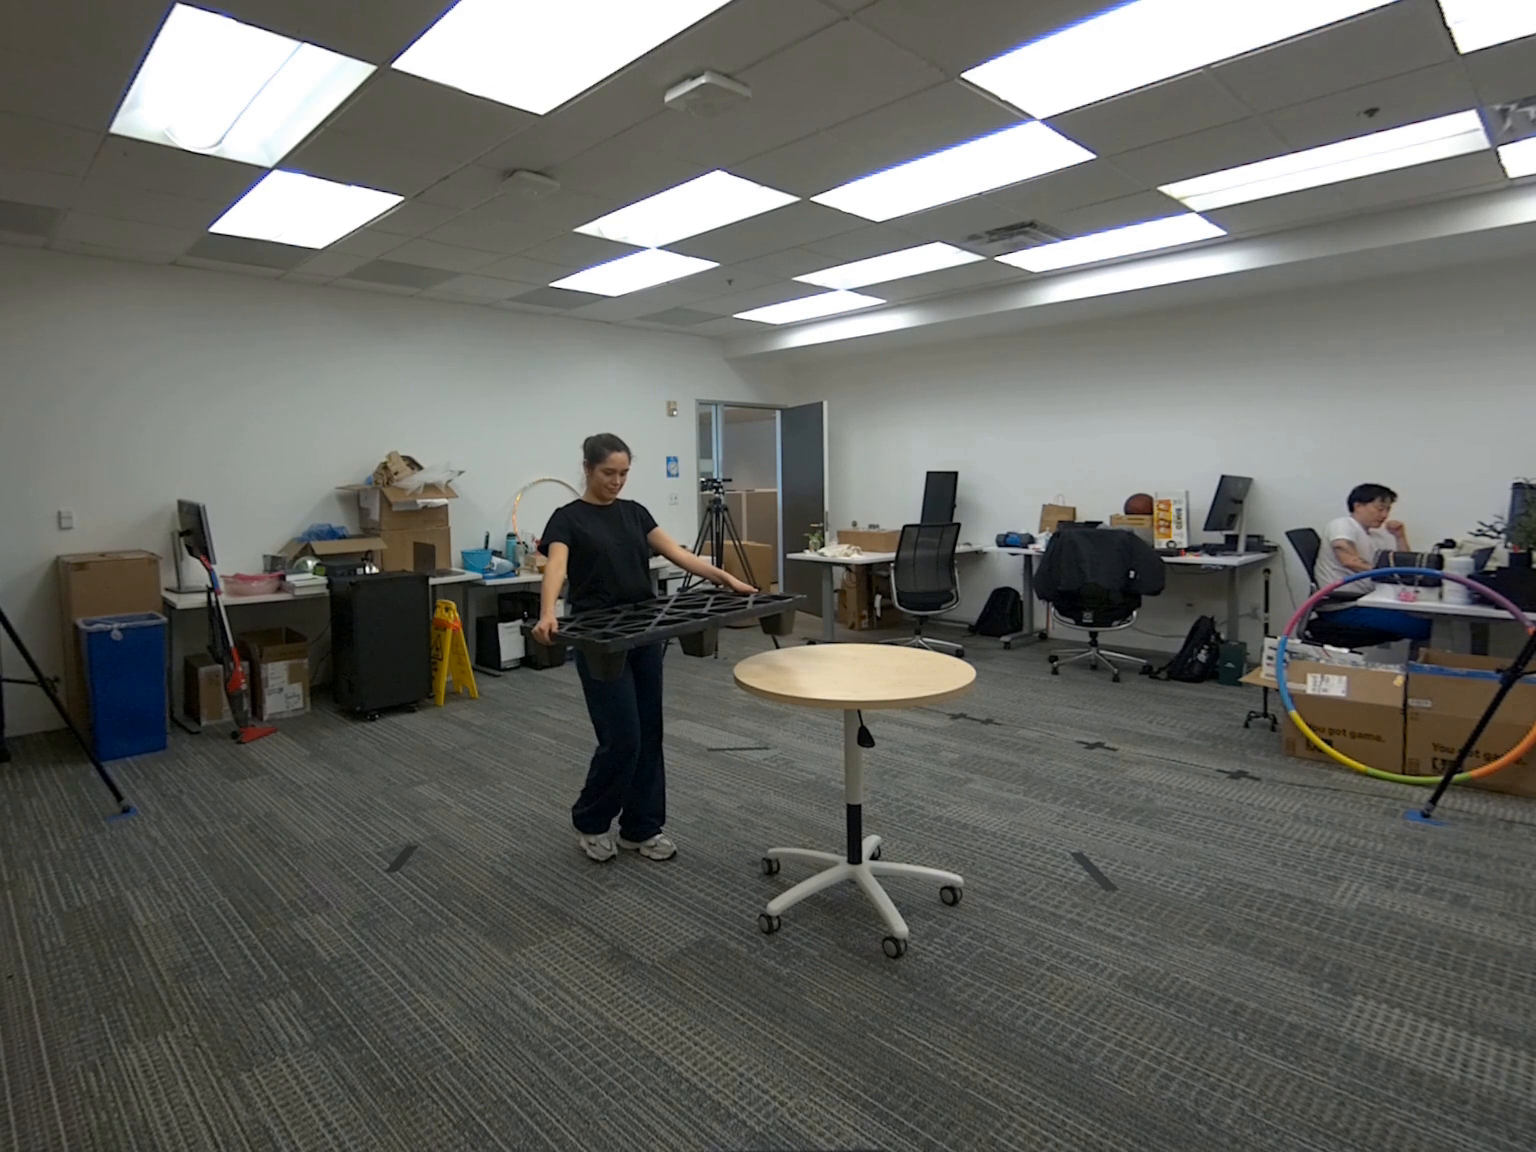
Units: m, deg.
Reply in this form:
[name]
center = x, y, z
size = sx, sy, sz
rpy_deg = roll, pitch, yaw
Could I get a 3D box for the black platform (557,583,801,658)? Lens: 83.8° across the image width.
[black platform]
center = -0.358, 0.180, 2.903
size = 0.787, 0.142, 0.622
rpy_deg = -11, 8, -38
